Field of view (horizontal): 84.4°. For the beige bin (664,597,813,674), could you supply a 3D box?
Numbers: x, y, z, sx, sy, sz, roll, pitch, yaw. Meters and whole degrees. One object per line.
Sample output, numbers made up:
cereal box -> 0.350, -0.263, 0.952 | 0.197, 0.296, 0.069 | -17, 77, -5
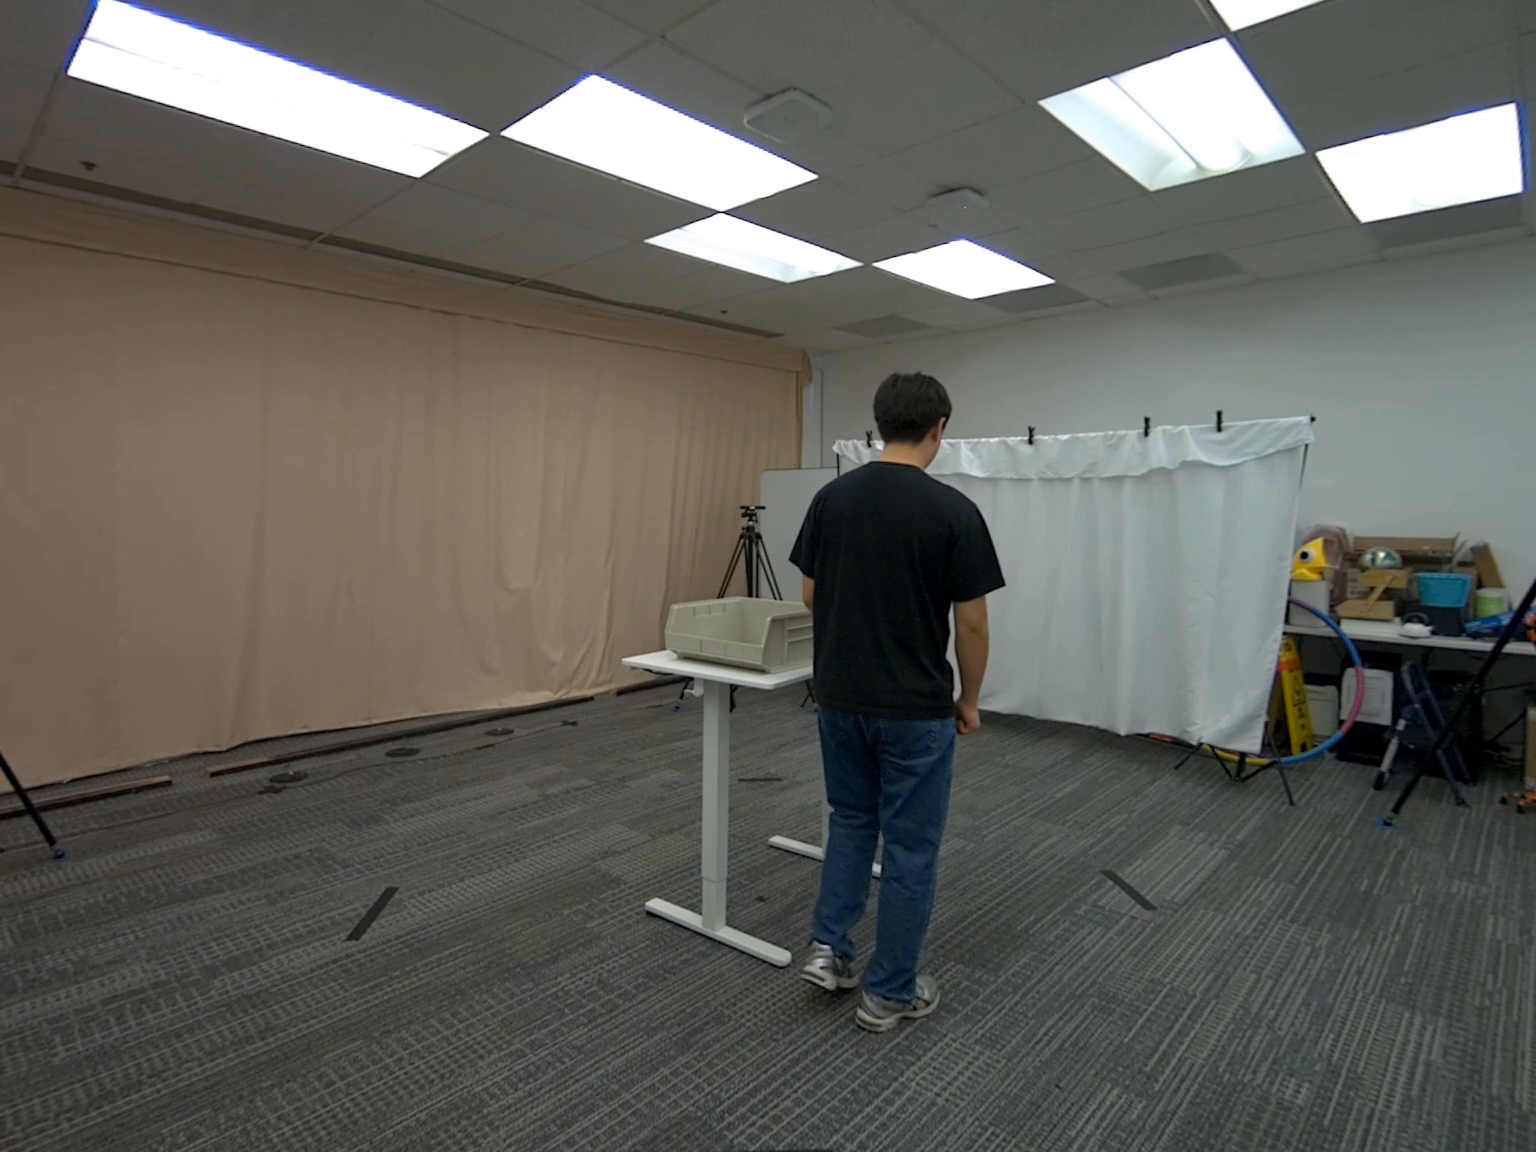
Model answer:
beige bin -> -0.056, 0.192, 2.768 | 0.436, 0.189, 0.366 | 4, 4, 41
